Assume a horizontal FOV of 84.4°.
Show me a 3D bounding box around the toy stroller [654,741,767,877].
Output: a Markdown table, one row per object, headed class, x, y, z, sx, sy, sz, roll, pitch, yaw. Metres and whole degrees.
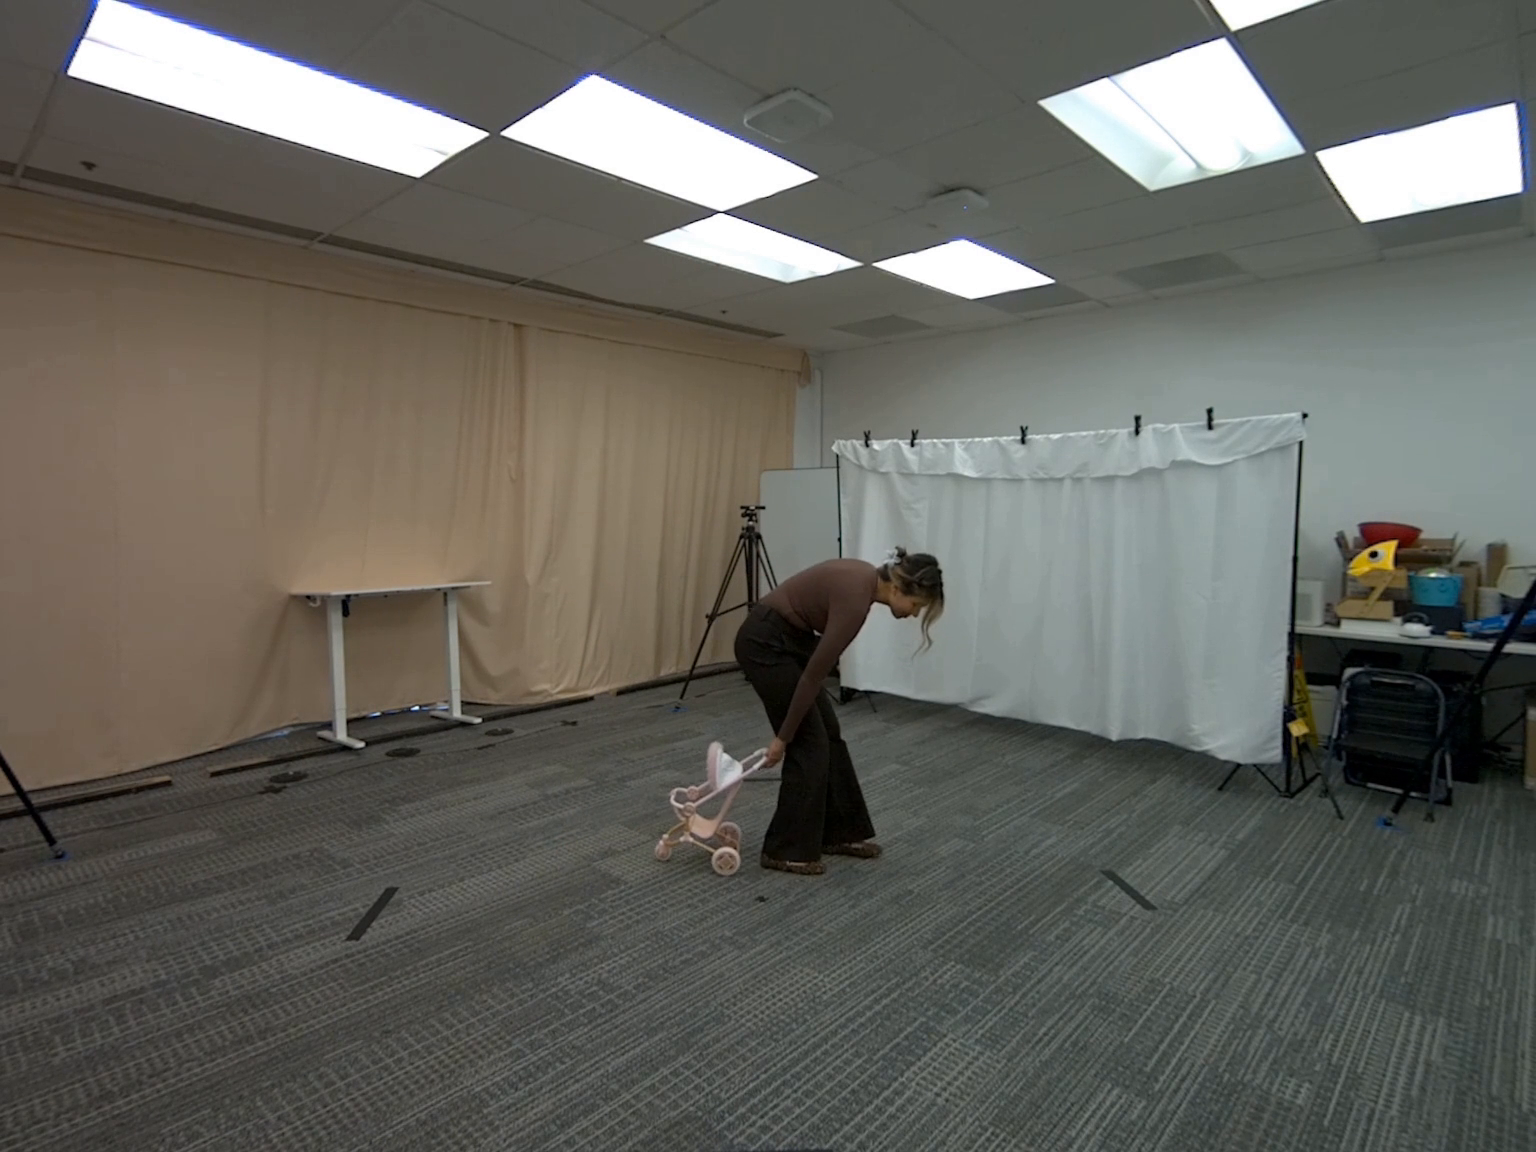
| class | x | y | z | sx | sy | sz | roll | pitch | yaw |
| --- | --- | --- | --- | --- | --- | --- | --- | --- | --- |
| toy stroller | -0.220 | 0.899 | 3.299 | 0.344 | 0.534 | 0.279 | 16 | 4 | 6 |
